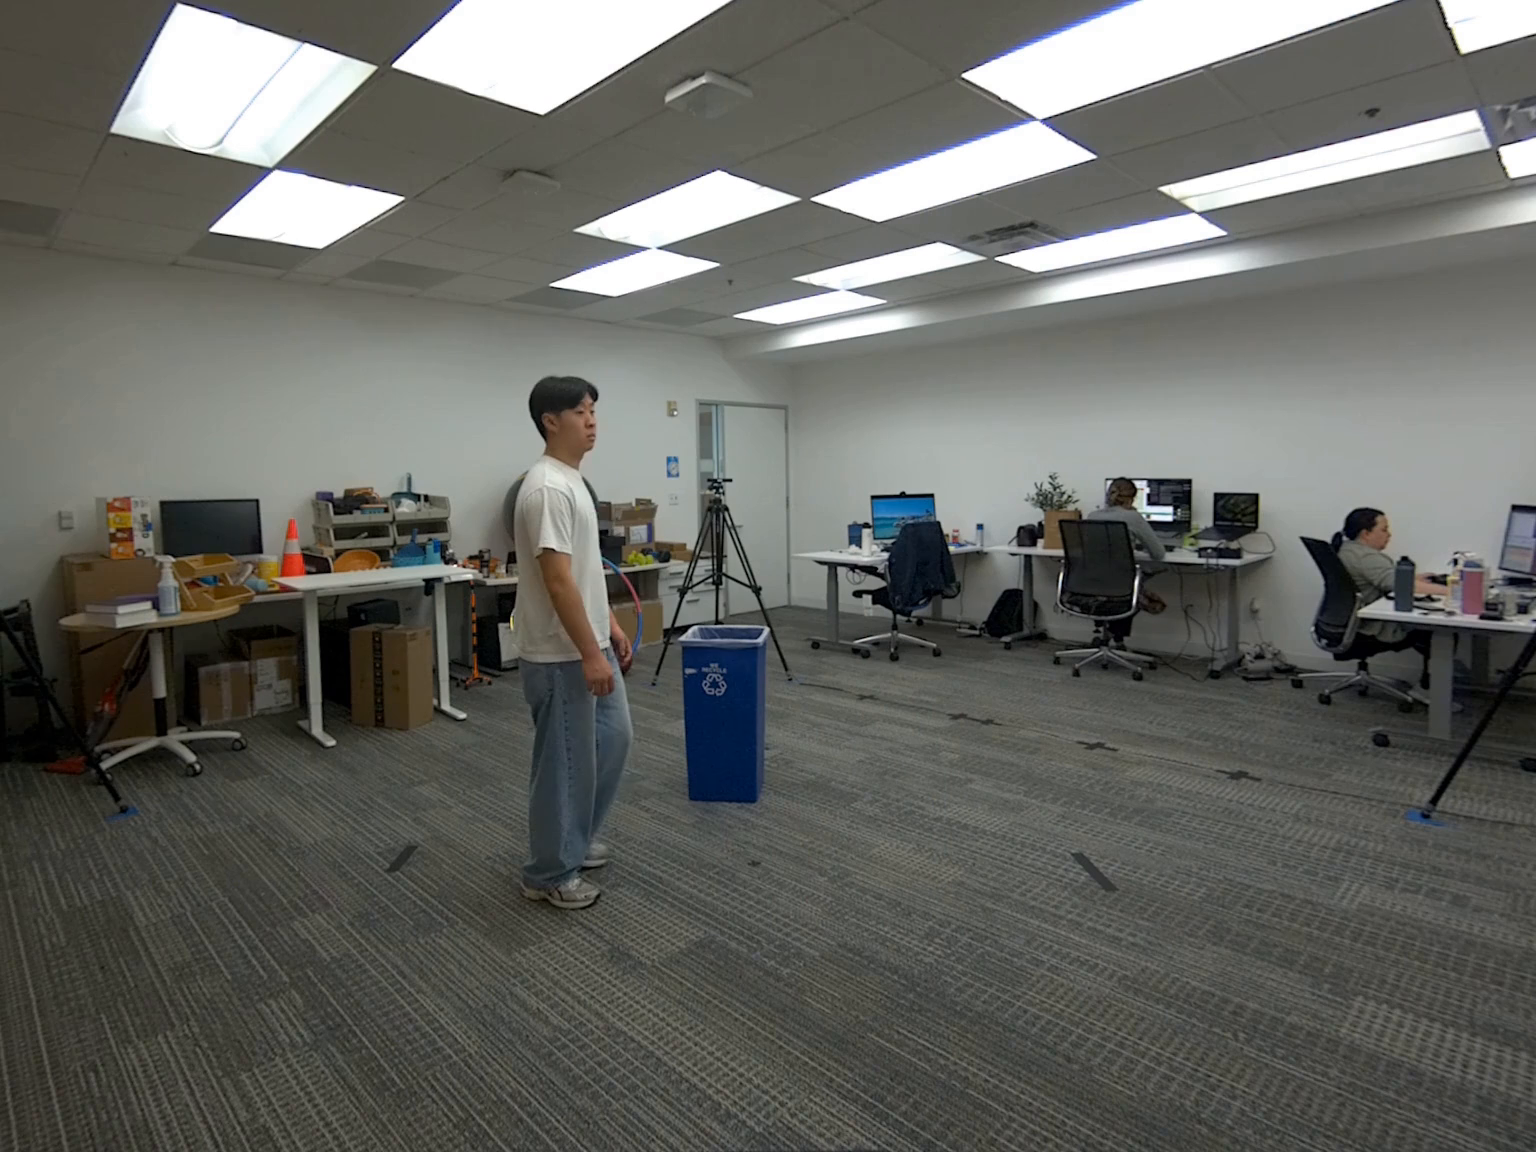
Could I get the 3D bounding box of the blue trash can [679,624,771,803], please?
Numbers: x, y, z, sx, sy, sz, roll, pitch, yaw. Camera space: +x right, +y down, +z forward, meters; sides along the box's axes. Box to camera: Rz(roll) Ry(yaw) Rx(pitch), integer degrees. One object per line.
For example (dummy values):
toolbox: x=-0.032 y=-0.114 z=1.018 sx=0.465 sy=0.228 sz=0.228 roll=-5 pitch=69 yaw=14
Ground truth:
blue trash can: x=-0.181 y=0.608 z=3.835 sx=0.377 sy=0.711 sz=0.376 roll=-1 pitch=4 yaw=8
